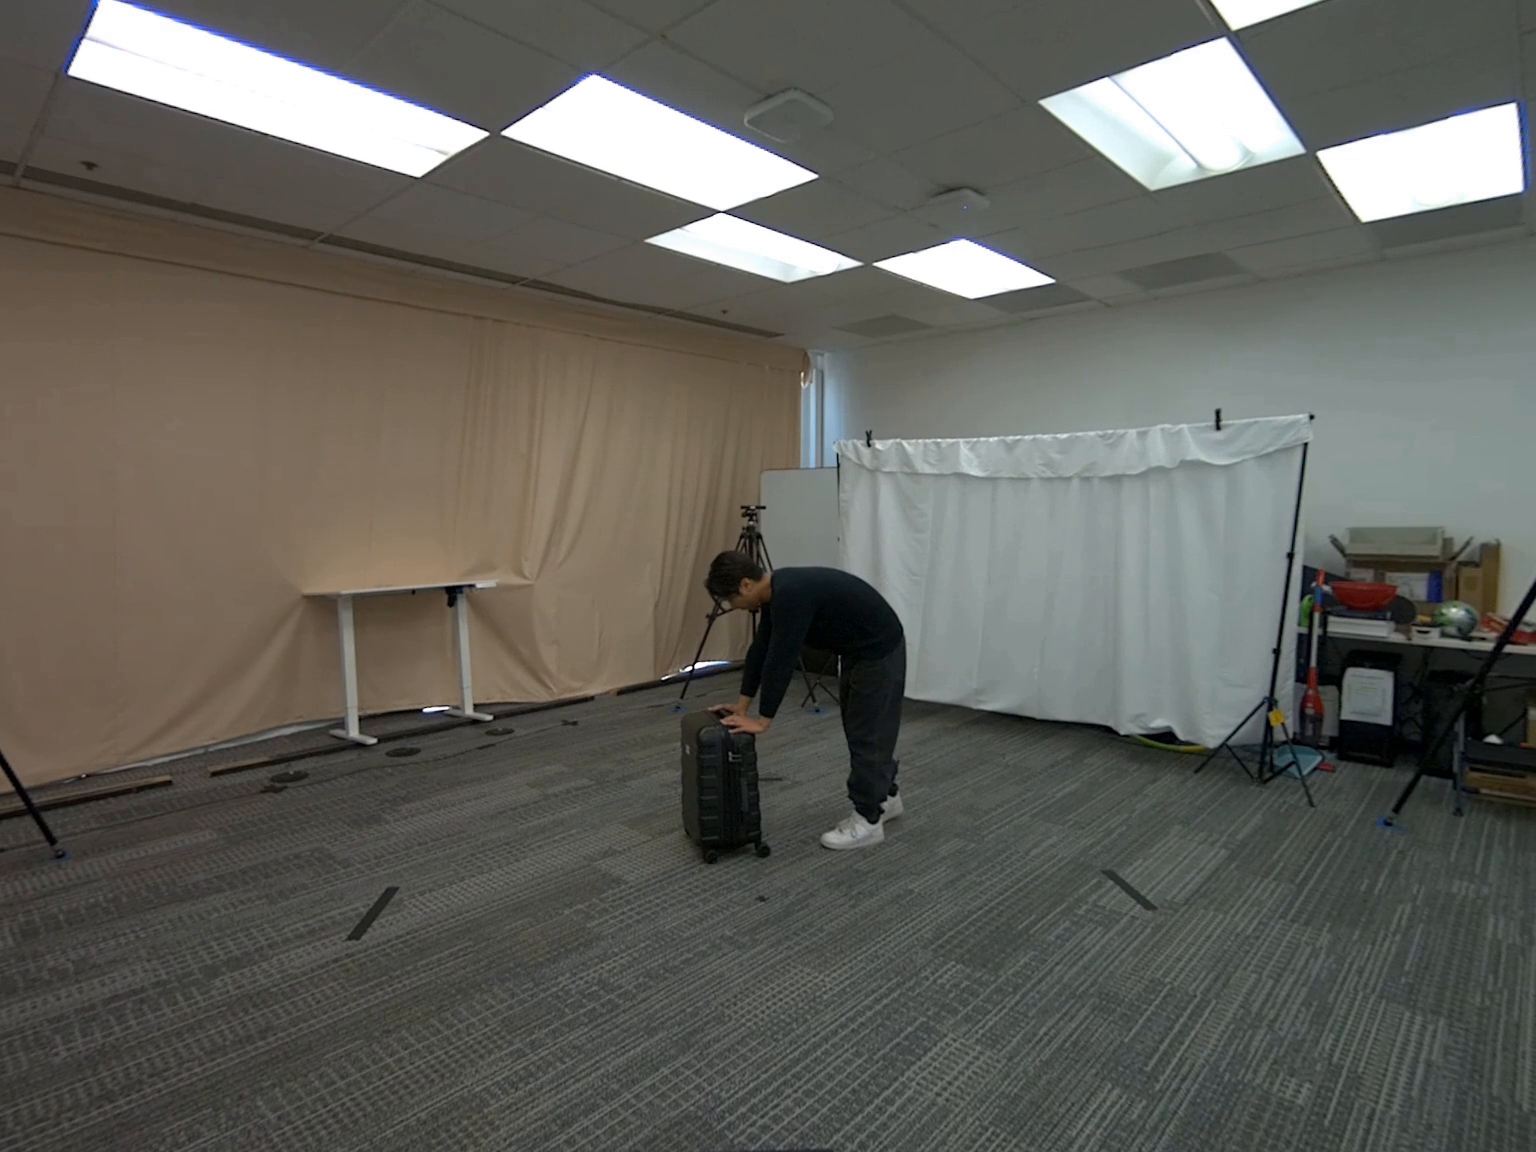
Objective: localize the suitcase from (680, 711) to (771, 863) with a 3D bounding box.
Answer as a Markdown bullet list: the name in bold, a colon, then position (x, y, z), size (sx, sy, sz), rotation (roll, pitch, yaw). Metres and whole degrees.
- **suitcase**: position (-0.189, 0.839, 3.438), size (0.244, 0.548, 0.383), rotation (-3, 4, -18)
